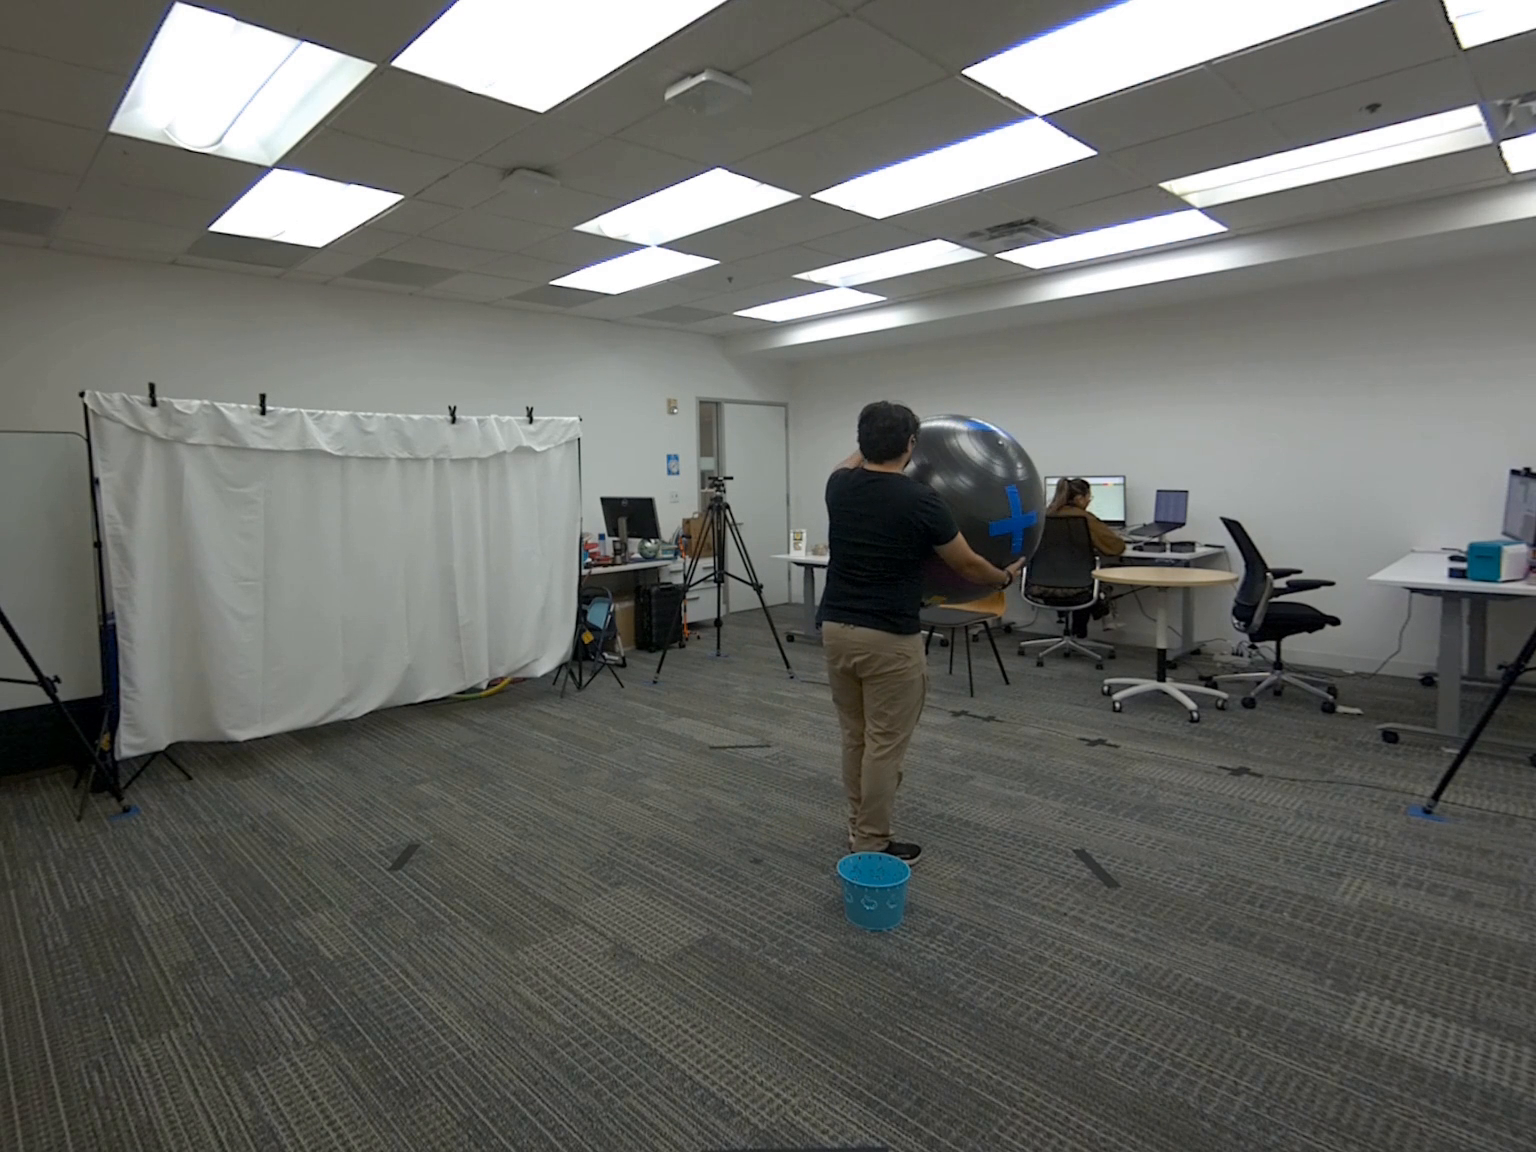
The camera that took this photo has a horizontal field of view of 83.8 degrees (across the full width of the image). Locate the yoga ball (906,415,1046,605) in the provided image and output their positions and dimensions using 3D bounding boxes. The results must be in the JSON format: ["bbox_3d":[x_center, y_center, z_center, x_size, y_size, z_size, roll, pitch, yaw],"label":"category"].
[{"bbox_3d":[0.726,-0.261,3.435,0.757,0.755,0.762,-1,5,-2],"label":"yoga ball"}]
